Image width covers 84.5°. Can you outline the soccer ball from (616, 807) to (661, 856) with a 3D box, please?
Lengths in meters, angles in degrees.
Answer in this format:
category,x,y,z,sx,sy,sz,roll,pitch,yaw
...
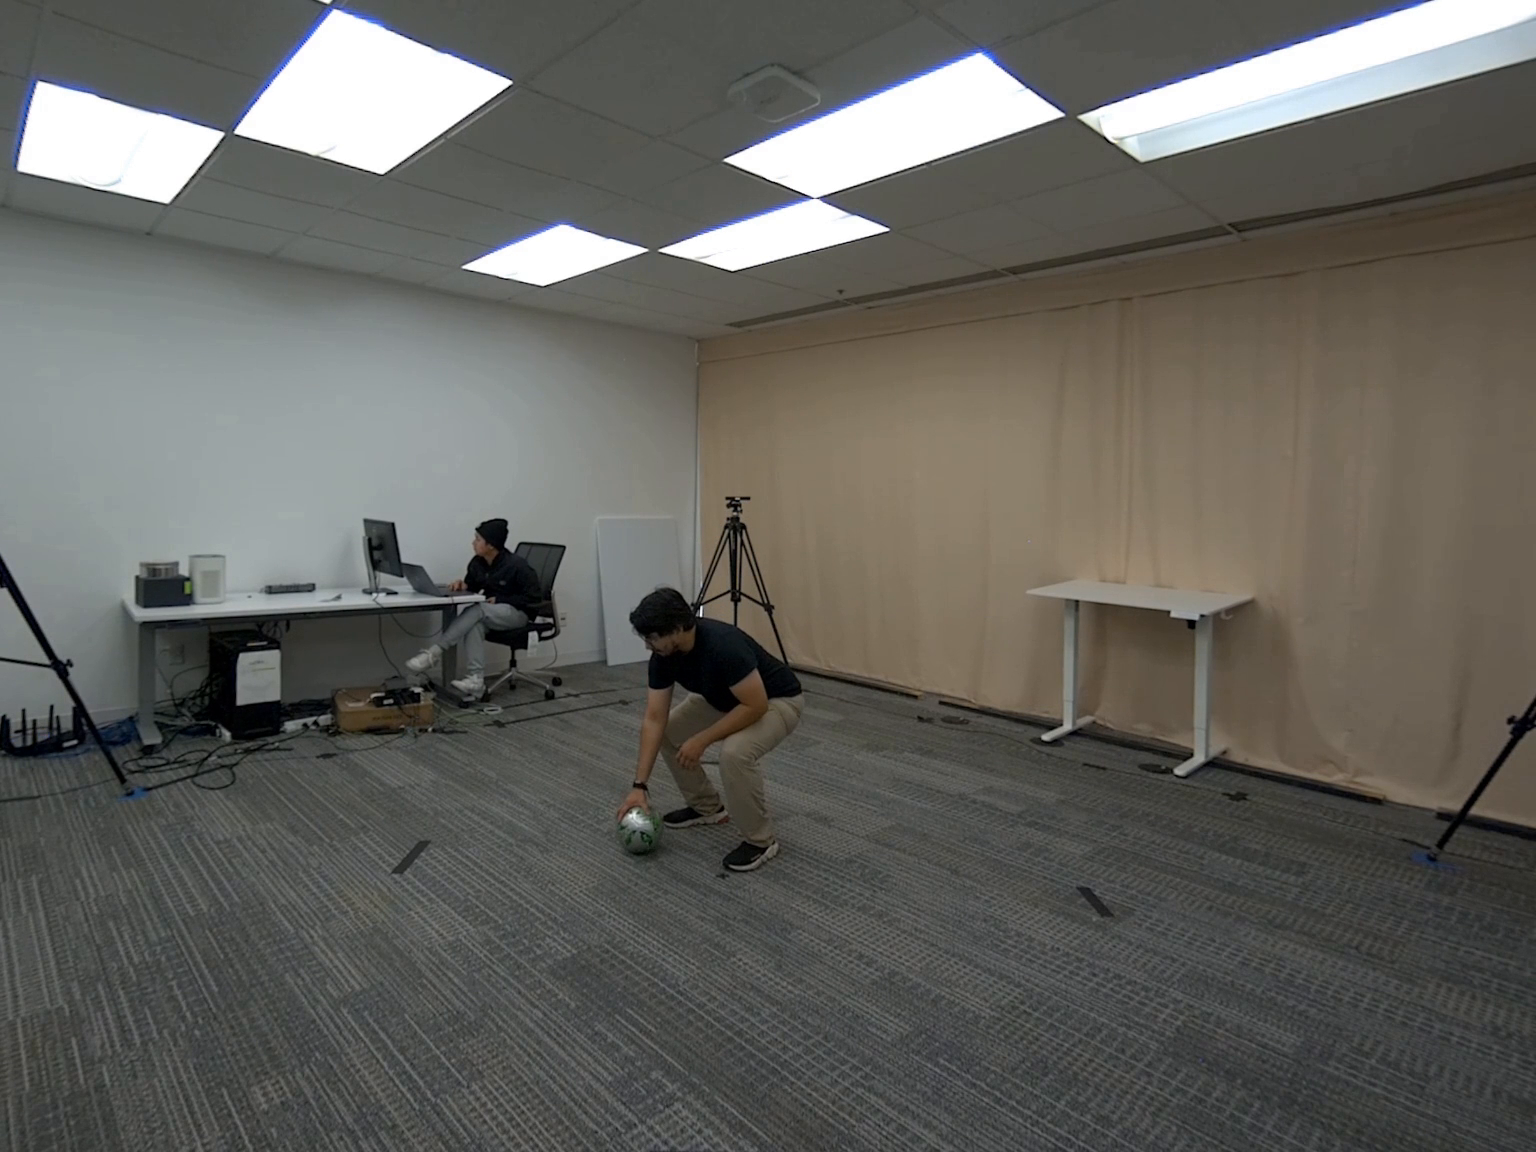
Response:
category,x,y,z,sx,sy,sz,roll,pitch,yaw
soccer ball,-0.505,0.975,3.299,0.187,0.187,0.188,1,4,-1
